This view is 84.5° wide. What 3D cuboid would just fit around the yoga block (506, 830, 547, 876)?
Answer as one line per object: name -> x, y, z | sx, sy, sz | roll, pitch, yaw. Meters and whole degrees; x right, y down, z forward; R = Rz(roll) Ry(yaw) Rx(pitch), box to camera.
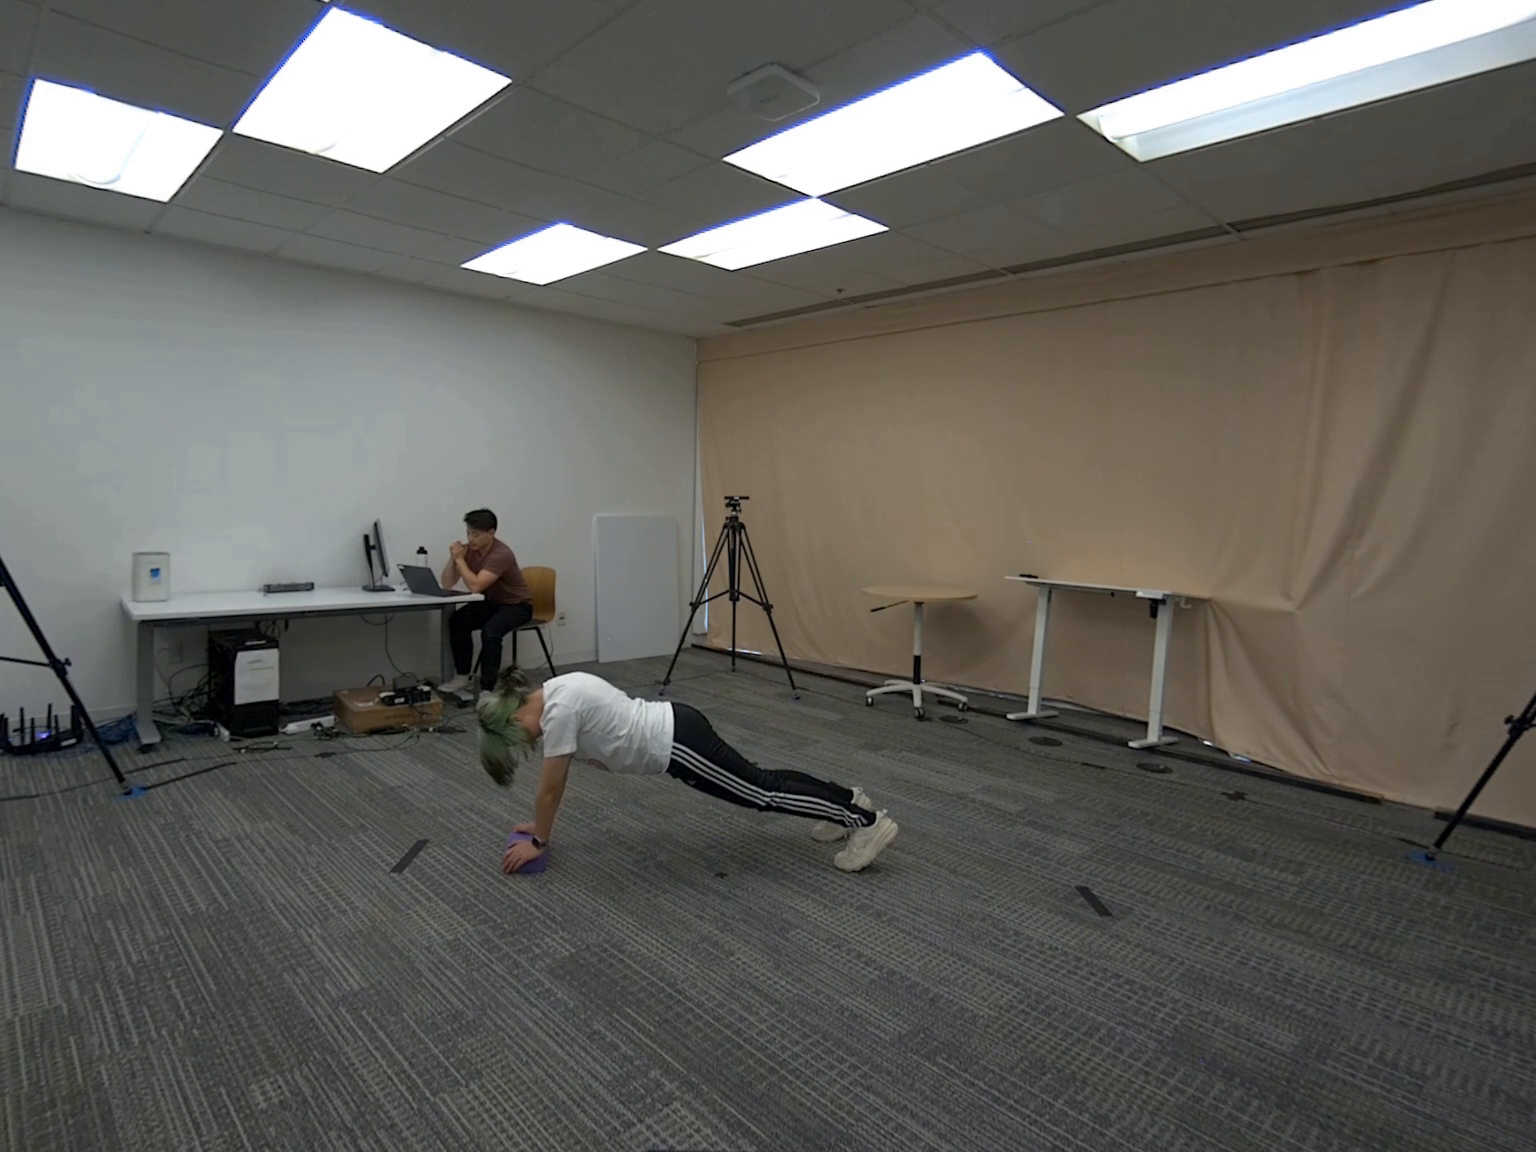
yoga block -> -0.915, 1.040, 3.197 | 0.148, 0.076, 0.232 | 1, 6, -9
